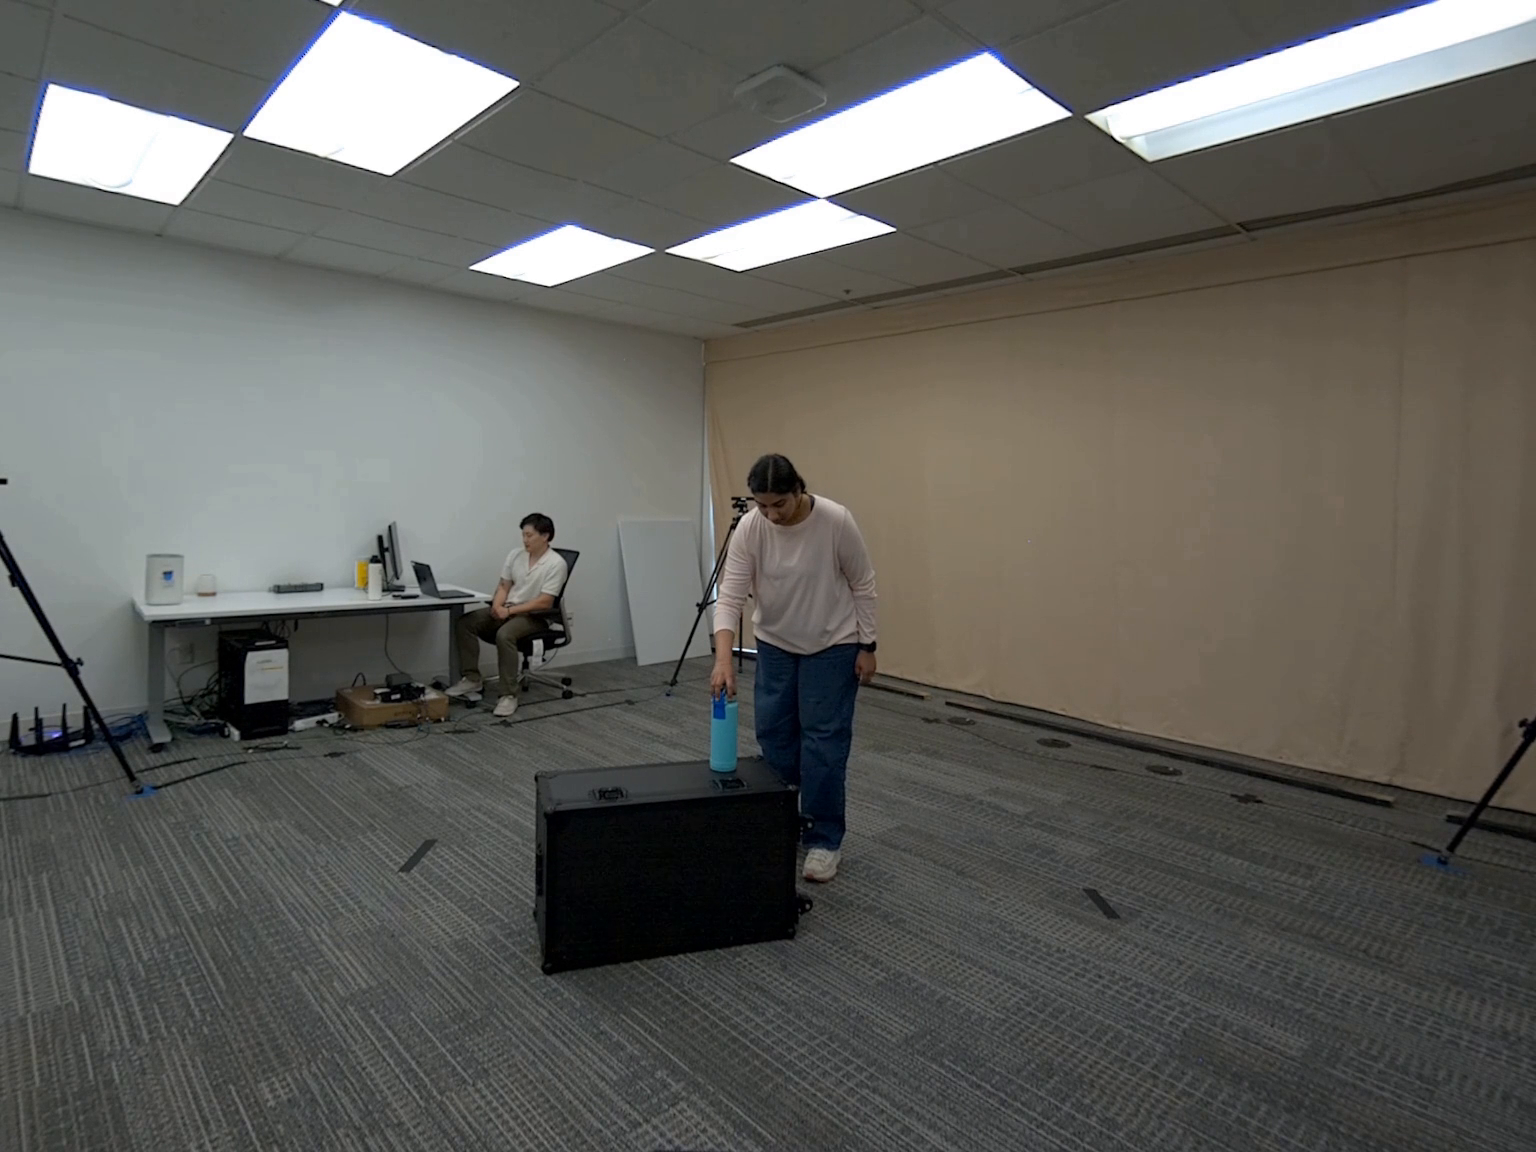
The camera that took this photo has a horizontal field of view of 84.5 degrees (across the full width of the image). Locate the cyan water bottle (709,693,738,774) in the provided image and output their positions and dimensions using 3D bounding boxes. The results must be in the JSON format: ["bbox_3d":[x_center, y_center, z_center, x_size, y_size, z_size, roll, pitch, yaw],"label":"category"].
[{"bbox_3d":[-0.156,0.508,2.820,0.092,0.282,0.093,2,4,-2],"label":"cyan water bottle"}]
